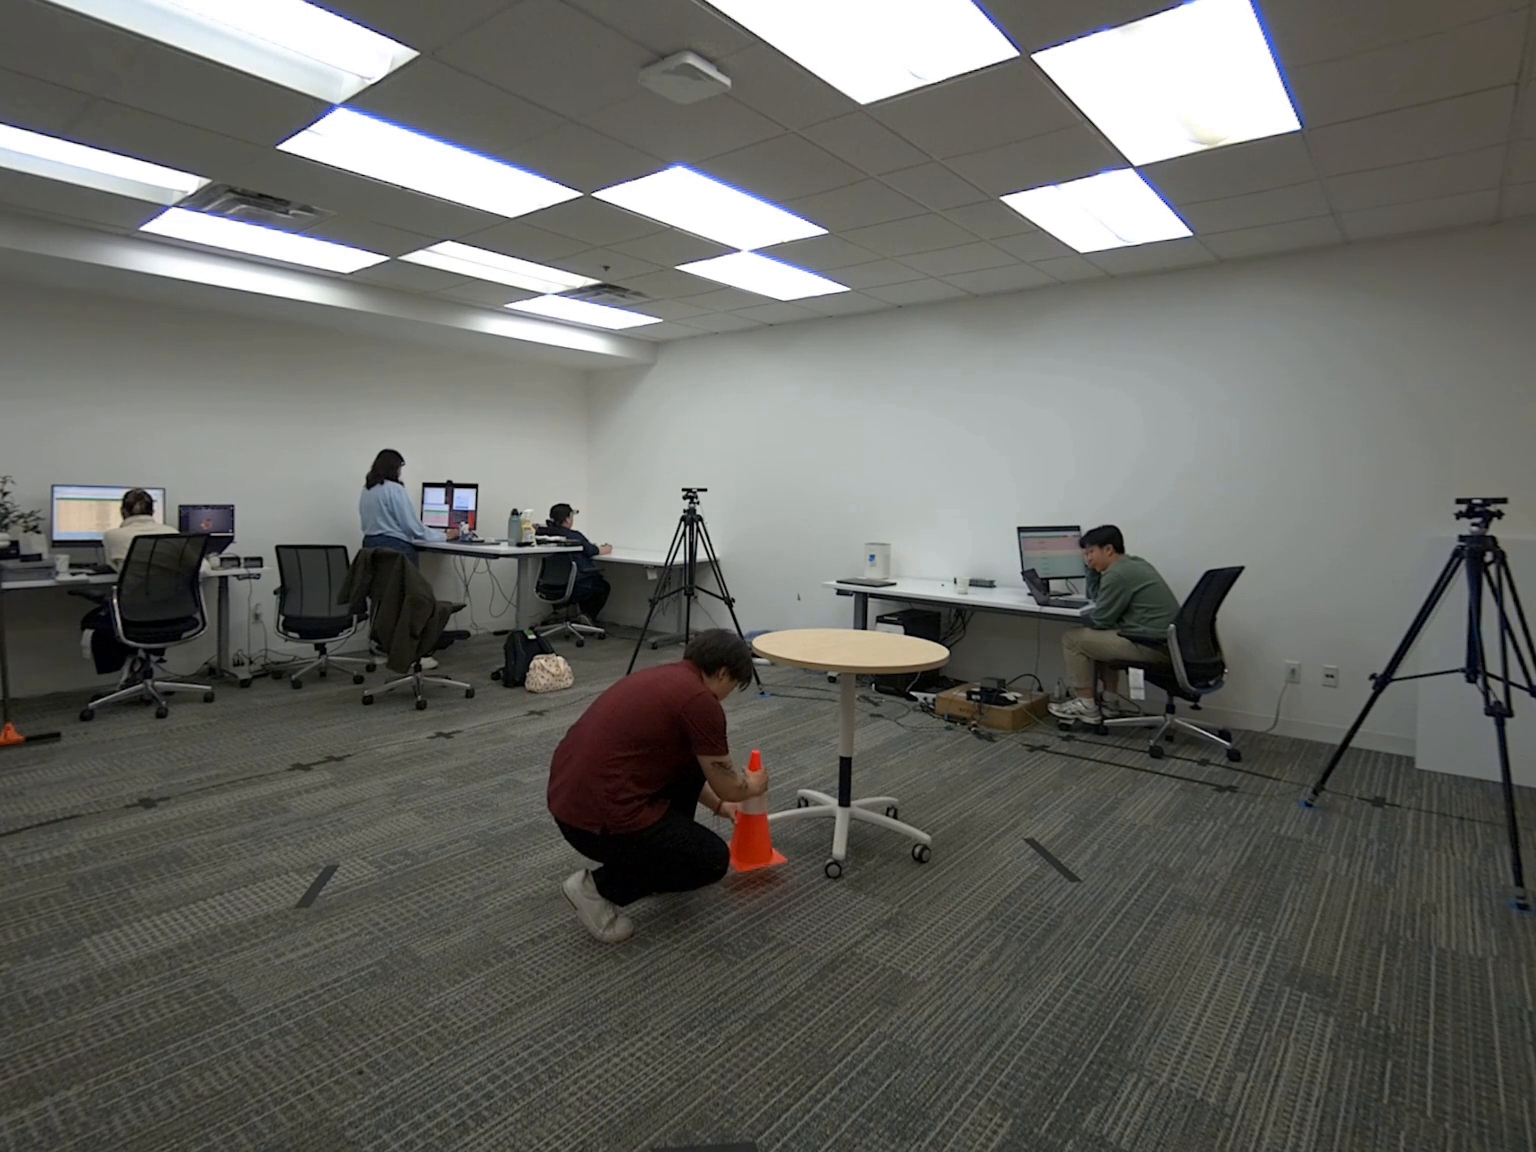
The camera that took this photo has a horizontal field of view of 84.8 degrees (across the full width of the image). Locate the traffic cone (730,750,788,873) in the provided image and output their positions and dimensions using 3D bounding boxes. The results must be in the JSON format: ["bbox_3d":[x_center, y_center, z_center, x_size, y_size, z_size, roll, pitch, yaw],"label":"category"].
[{"bbox_3d":[-0.068,0.817,3.027,0.199,0.381,0.211,-1,7,-24],"label":"traffic cone"}]
